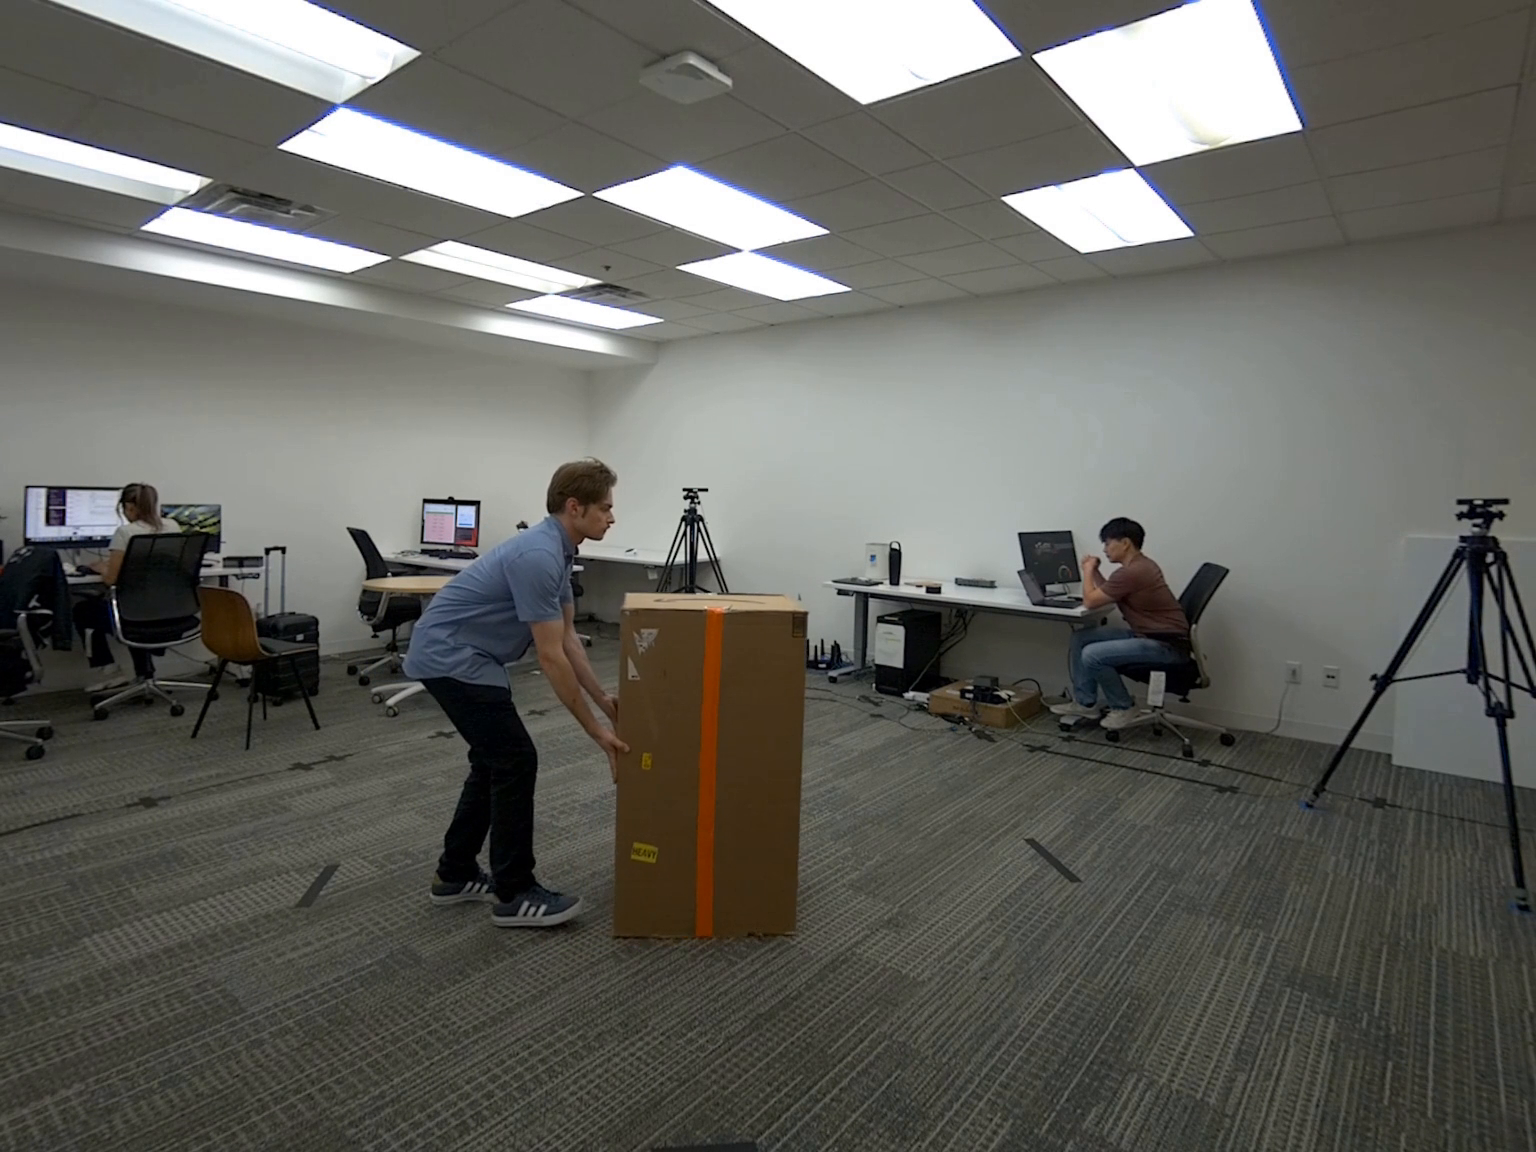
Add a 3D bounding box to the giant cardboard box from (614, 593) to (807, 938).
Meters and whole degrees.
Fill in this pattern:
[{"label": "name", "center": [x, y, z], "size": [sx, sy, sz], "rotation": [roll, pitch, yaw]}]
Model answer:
[{"label": "giant cardboard box", "center": [-0.213, 0.593, 2.816], "size": [0.575, 1.023, 0.429], "rotation": [1, 3, -5]}]
